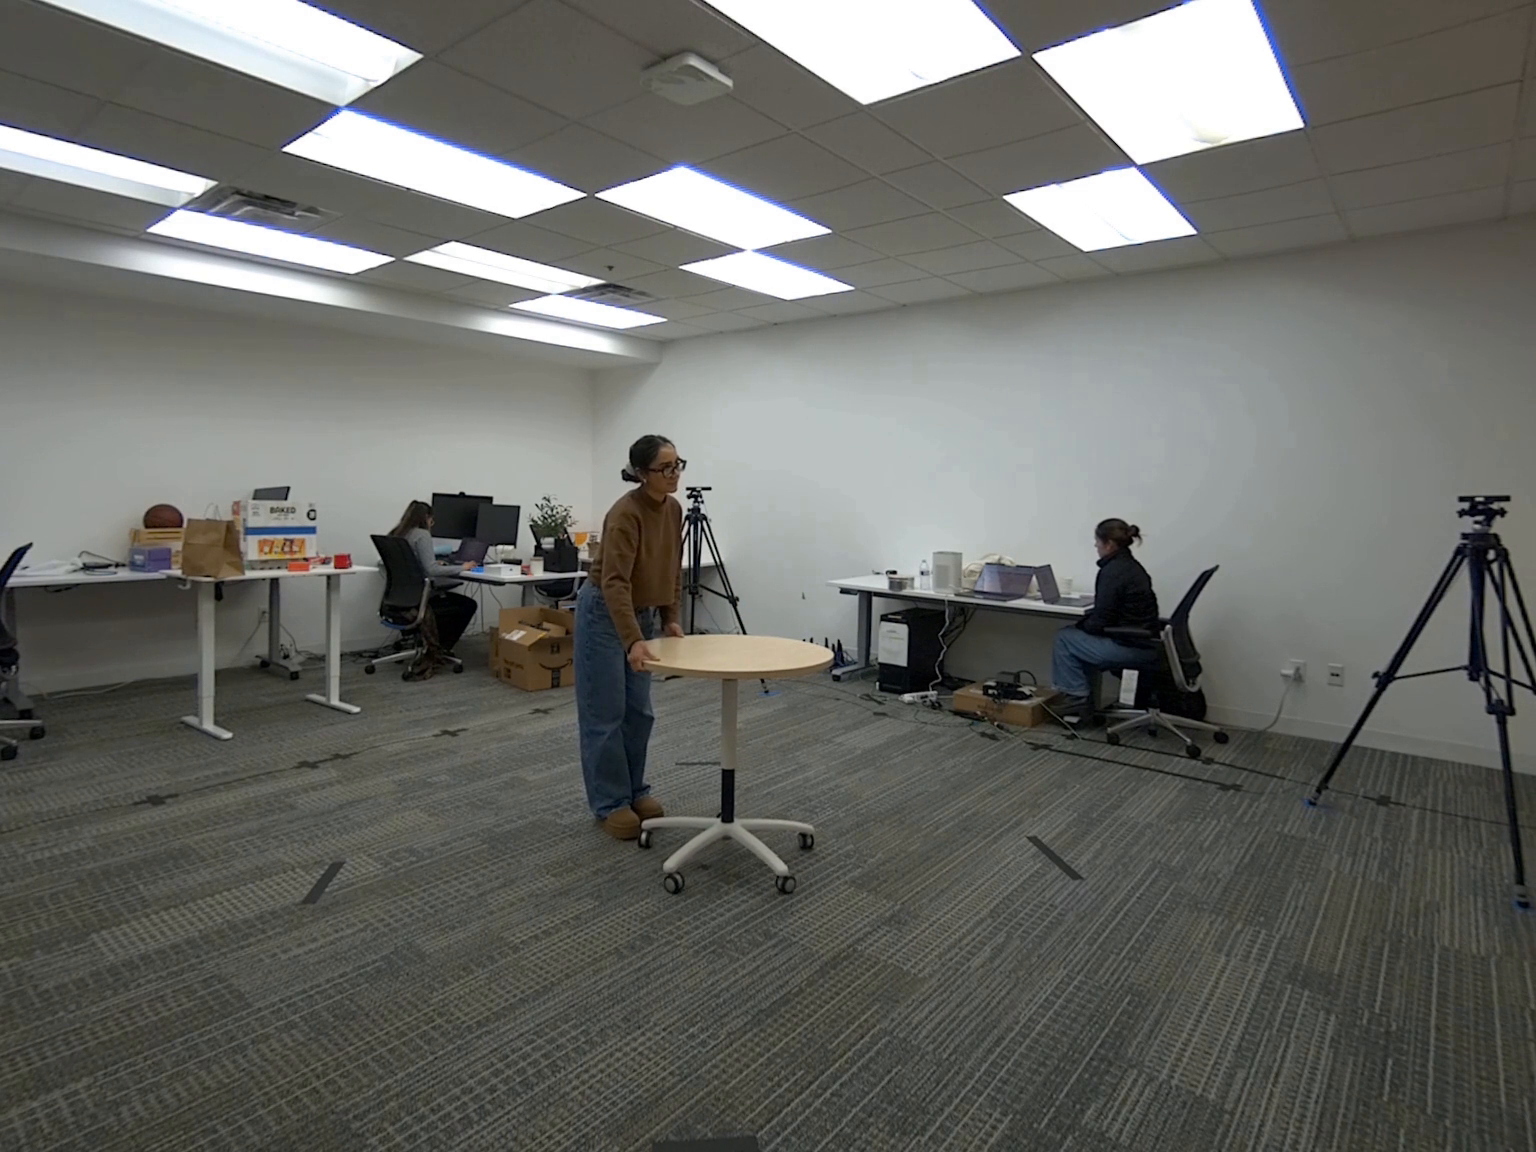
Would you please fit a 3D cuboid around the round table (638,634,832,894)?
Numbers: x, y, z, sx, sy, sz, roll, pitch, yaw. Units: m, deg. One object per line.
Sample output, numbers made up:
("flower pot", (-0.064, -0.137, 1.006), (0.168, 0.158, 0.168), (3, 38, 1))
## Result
("round table", (-0.152, 0.670, 3.178), (0.763, 0.792, 0.767), (1, 4, -2))
